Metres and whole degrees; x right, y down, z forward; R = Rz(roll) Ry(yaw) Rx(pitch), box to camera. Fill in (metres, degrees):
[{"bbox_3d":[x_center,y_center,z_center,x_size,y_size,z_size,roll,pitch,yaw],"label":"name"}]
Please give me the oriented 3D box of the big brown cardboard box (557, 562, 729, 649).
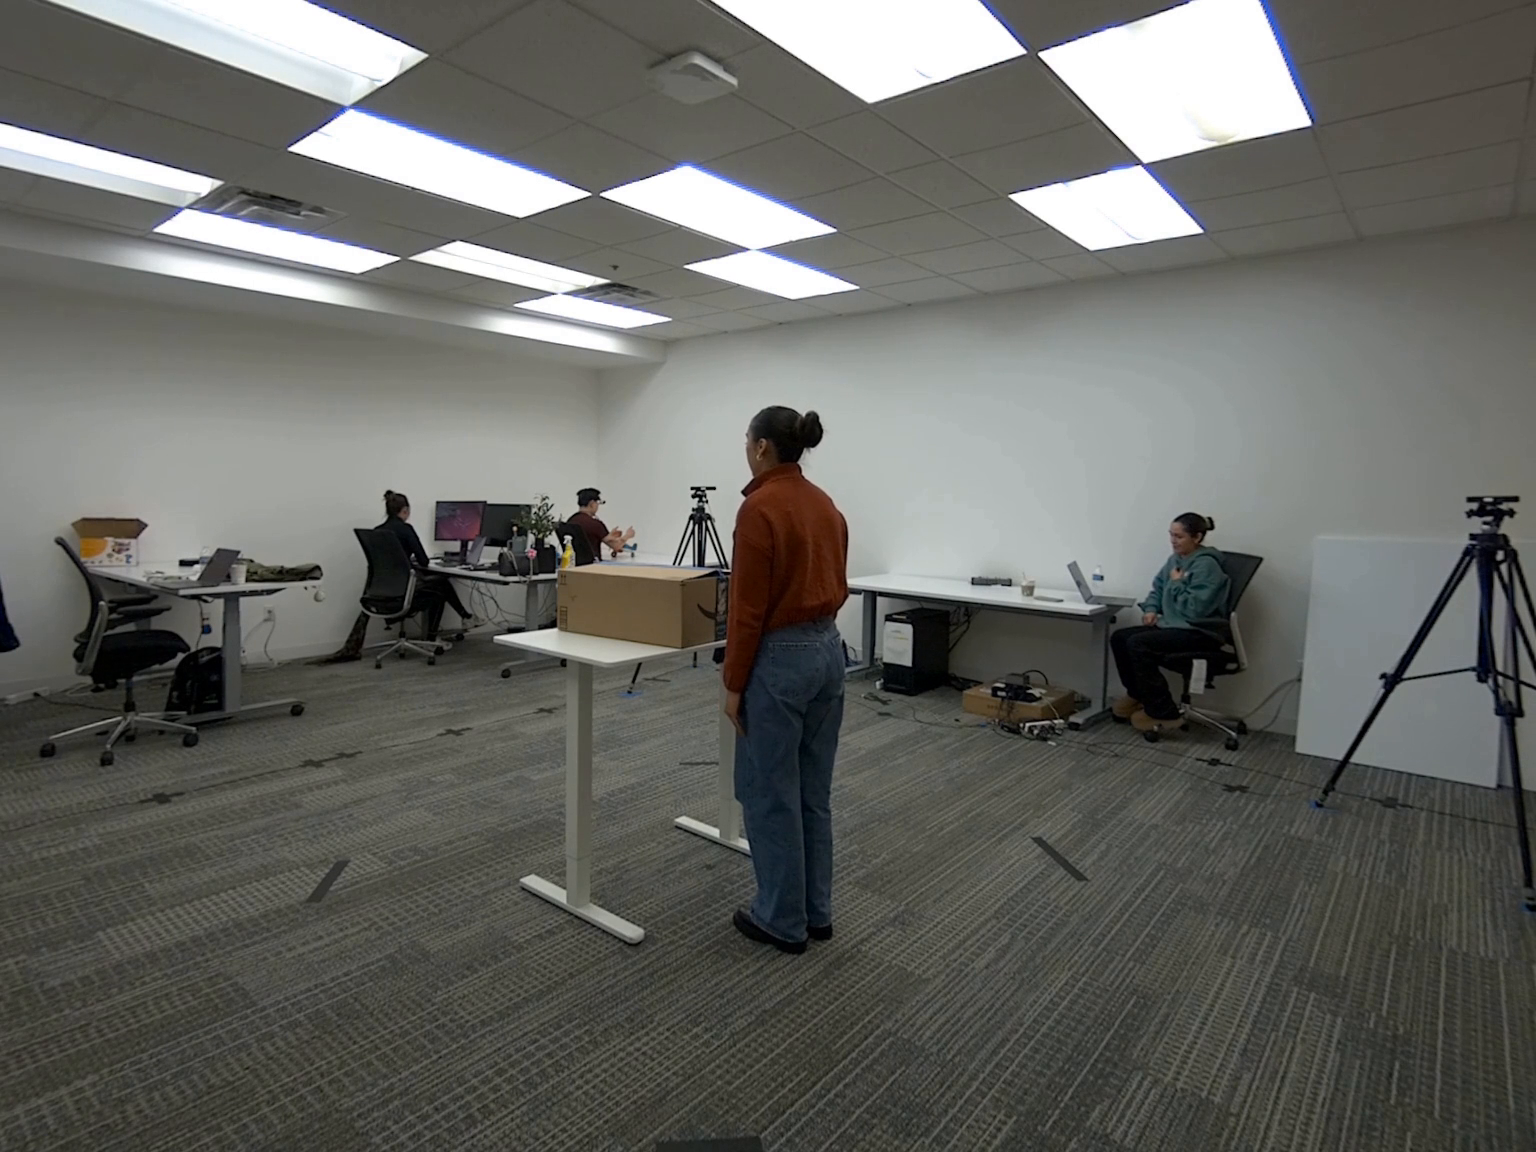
[{"bbox_3d":[-0.397,0.084,2.971,0.607,0.232,0.406,3,6,35],"label":"big brown cardboard box"}]
